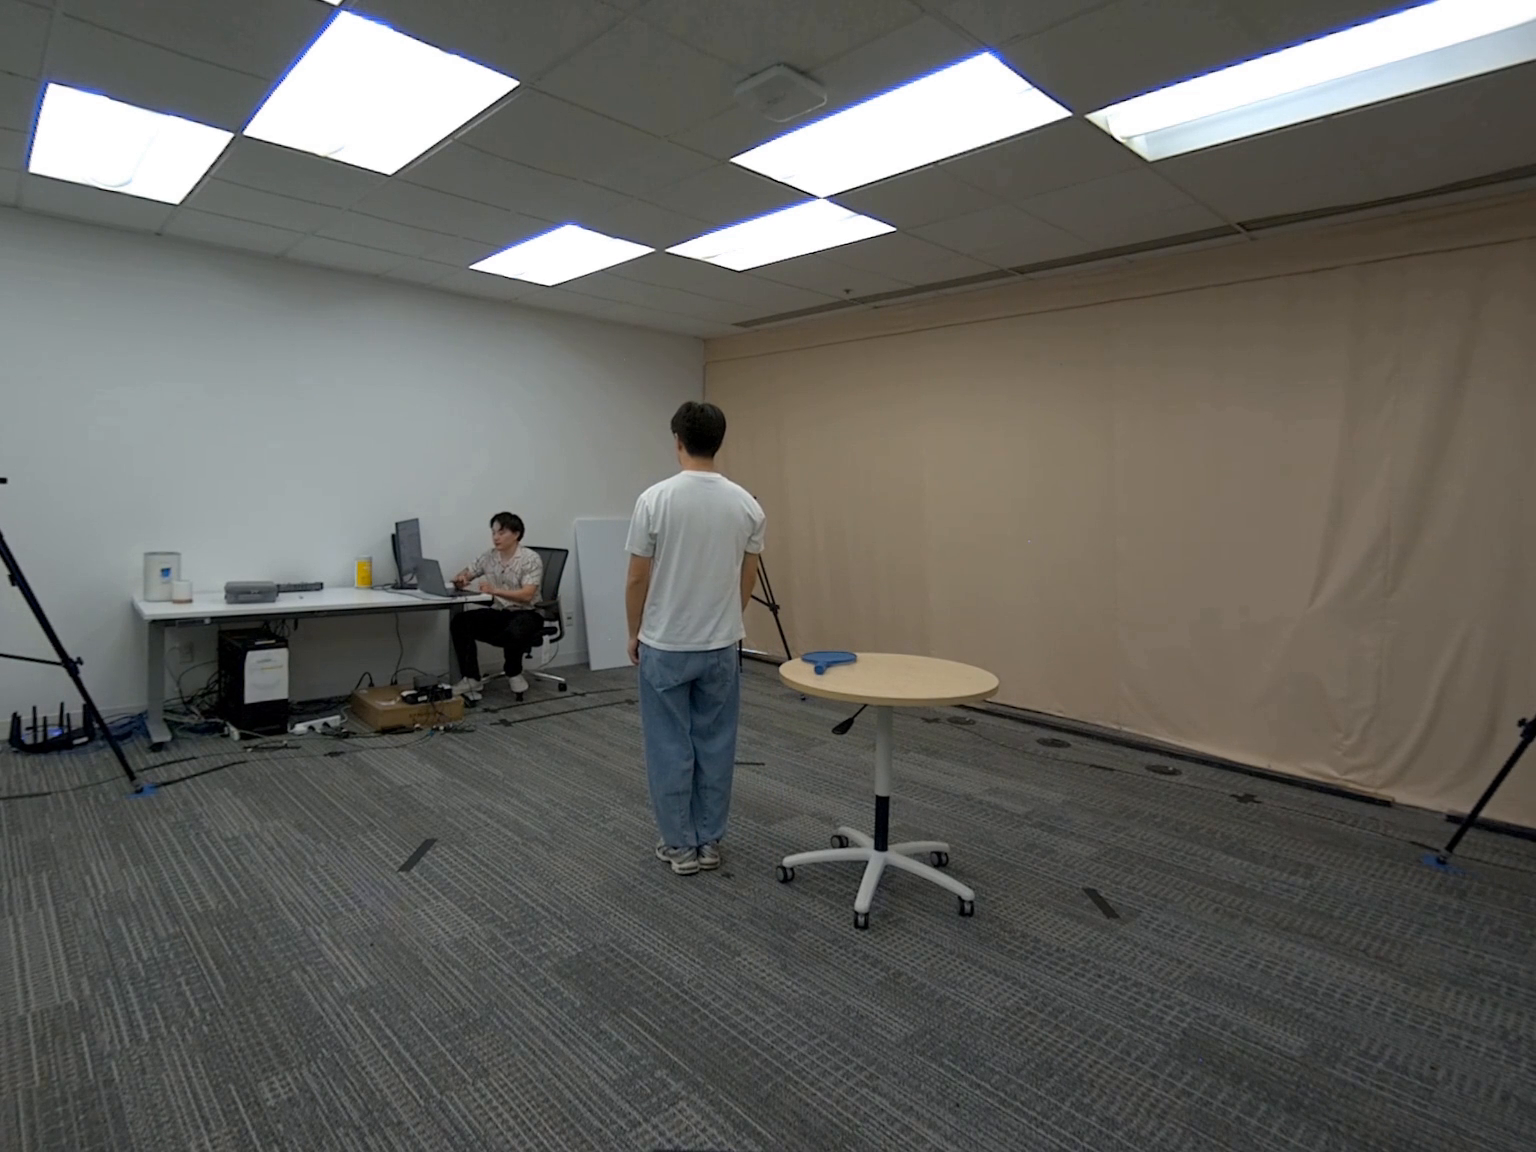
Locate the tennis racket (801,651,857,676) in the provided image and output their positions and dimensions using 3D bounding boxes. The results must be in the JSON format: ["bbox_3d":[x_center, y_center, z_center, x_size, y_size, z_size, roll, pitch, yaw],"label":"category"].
[{"bbox_3d":[0.208,0.318,3.142,0.215,0.032,0.430,0,3,9],"label":"tennis racket"}]
